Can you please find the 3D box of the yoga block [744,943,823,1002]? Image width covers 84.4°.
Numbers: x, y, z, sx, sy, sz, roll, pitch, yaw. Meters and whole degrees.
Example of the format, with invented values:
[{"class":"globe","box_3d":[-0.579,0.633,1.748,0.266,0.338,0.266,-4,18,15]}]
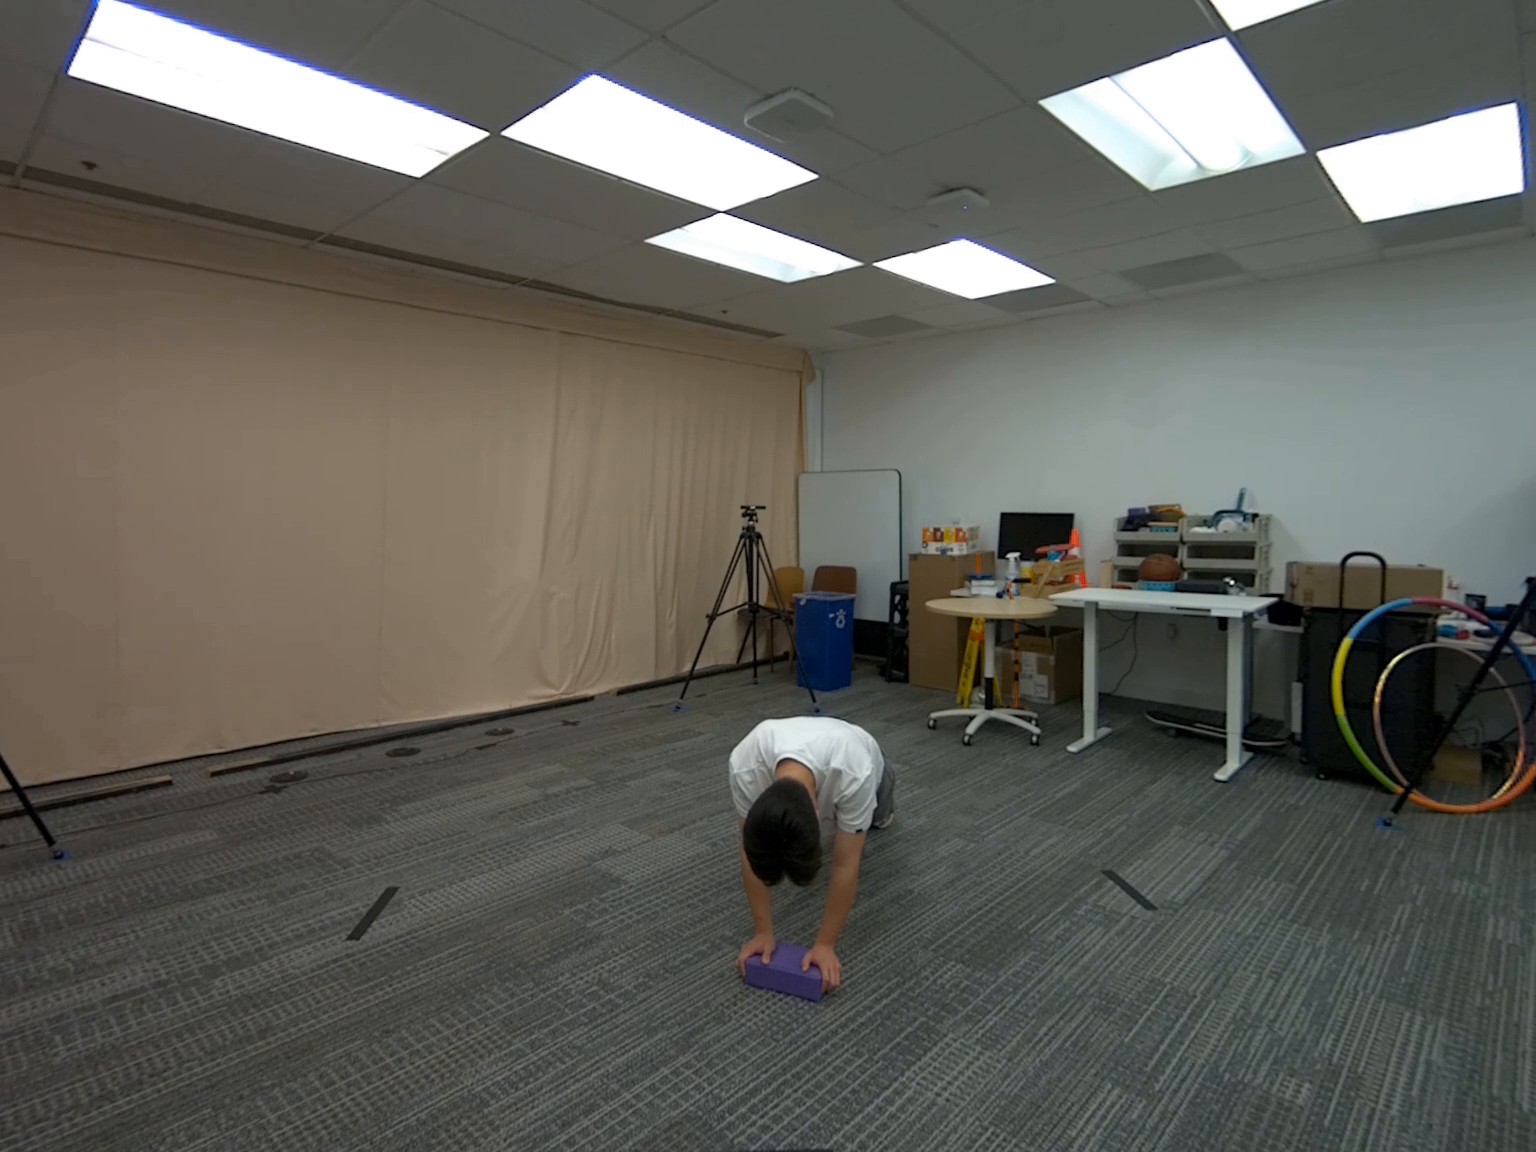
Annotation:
[{"class":"yoga block","box_3d":[0.069,1.157,2.459,0.235,0.076,0.145,4,7,25]}]
